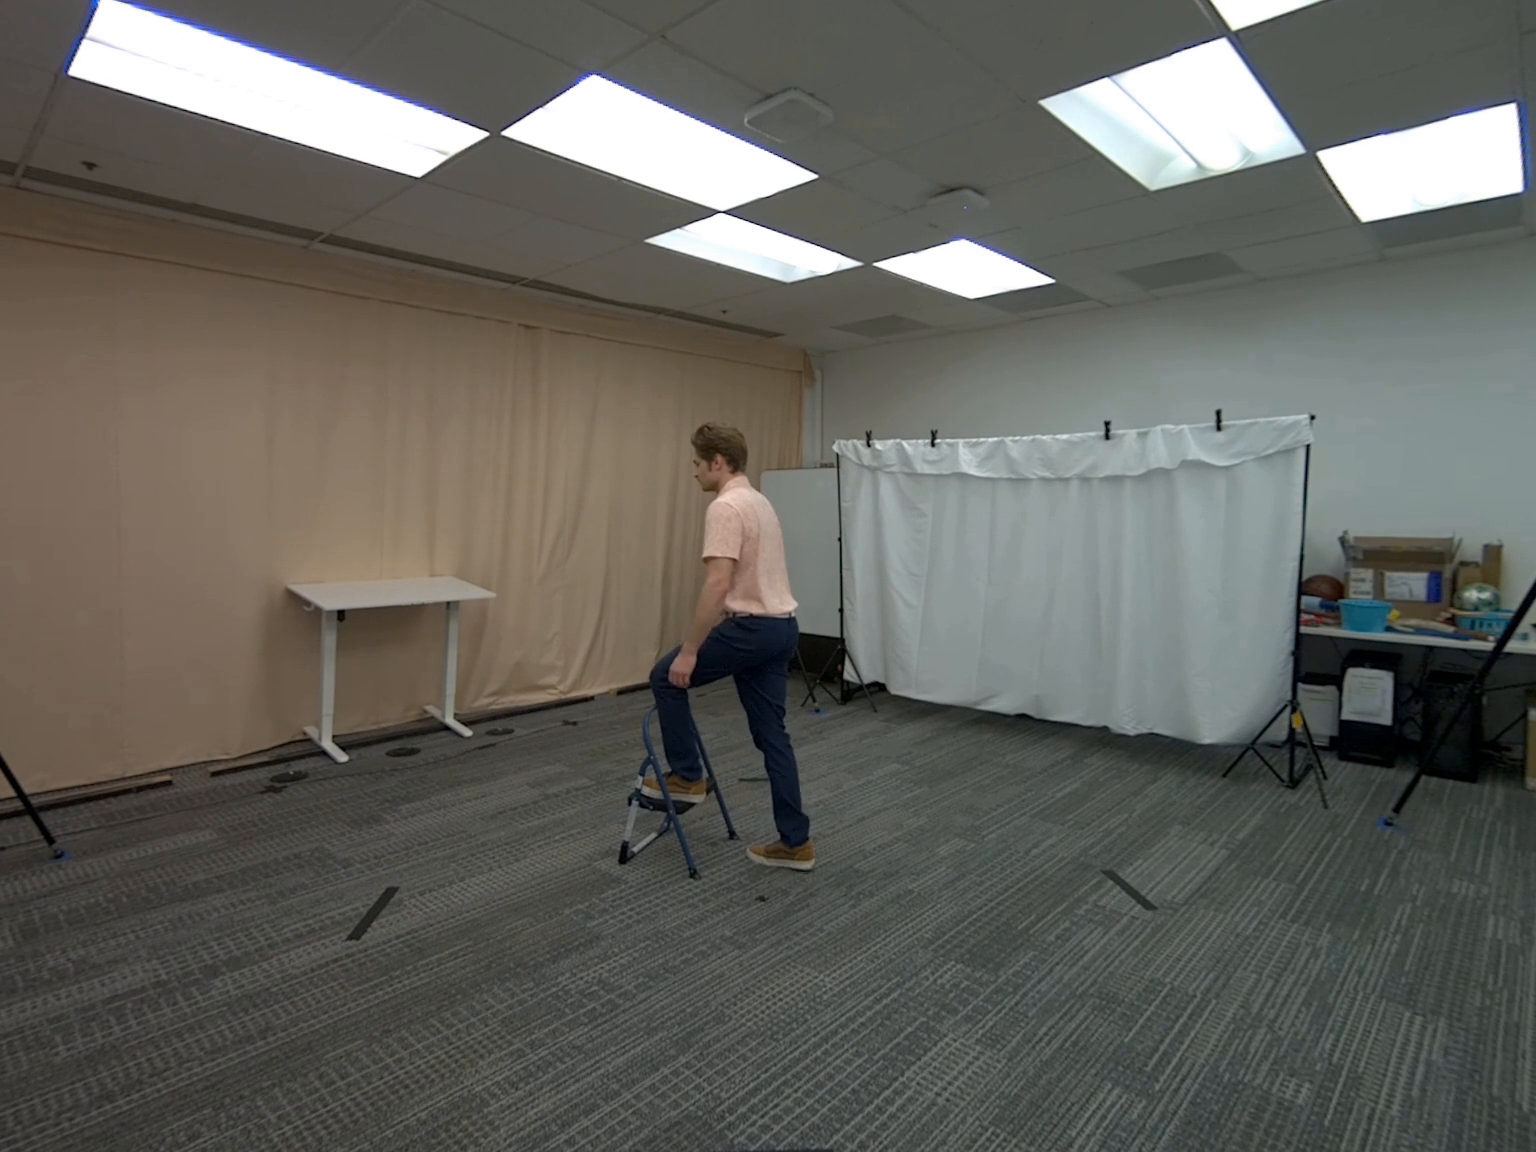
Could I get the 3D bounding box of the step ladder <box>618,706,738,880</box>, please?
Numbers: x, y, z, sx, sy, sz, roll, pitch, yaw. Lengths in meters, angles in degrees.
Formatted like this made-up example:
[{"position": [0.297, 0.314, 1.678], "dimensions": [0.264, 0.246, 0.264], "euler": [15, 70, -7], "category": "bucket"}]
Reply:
[{"position": [-0.358, 0.810, 3.393], "dimensions": [0.357, 0.605, 0.422], "euler": [0, 3, 21], "category": "step ladder"}]
